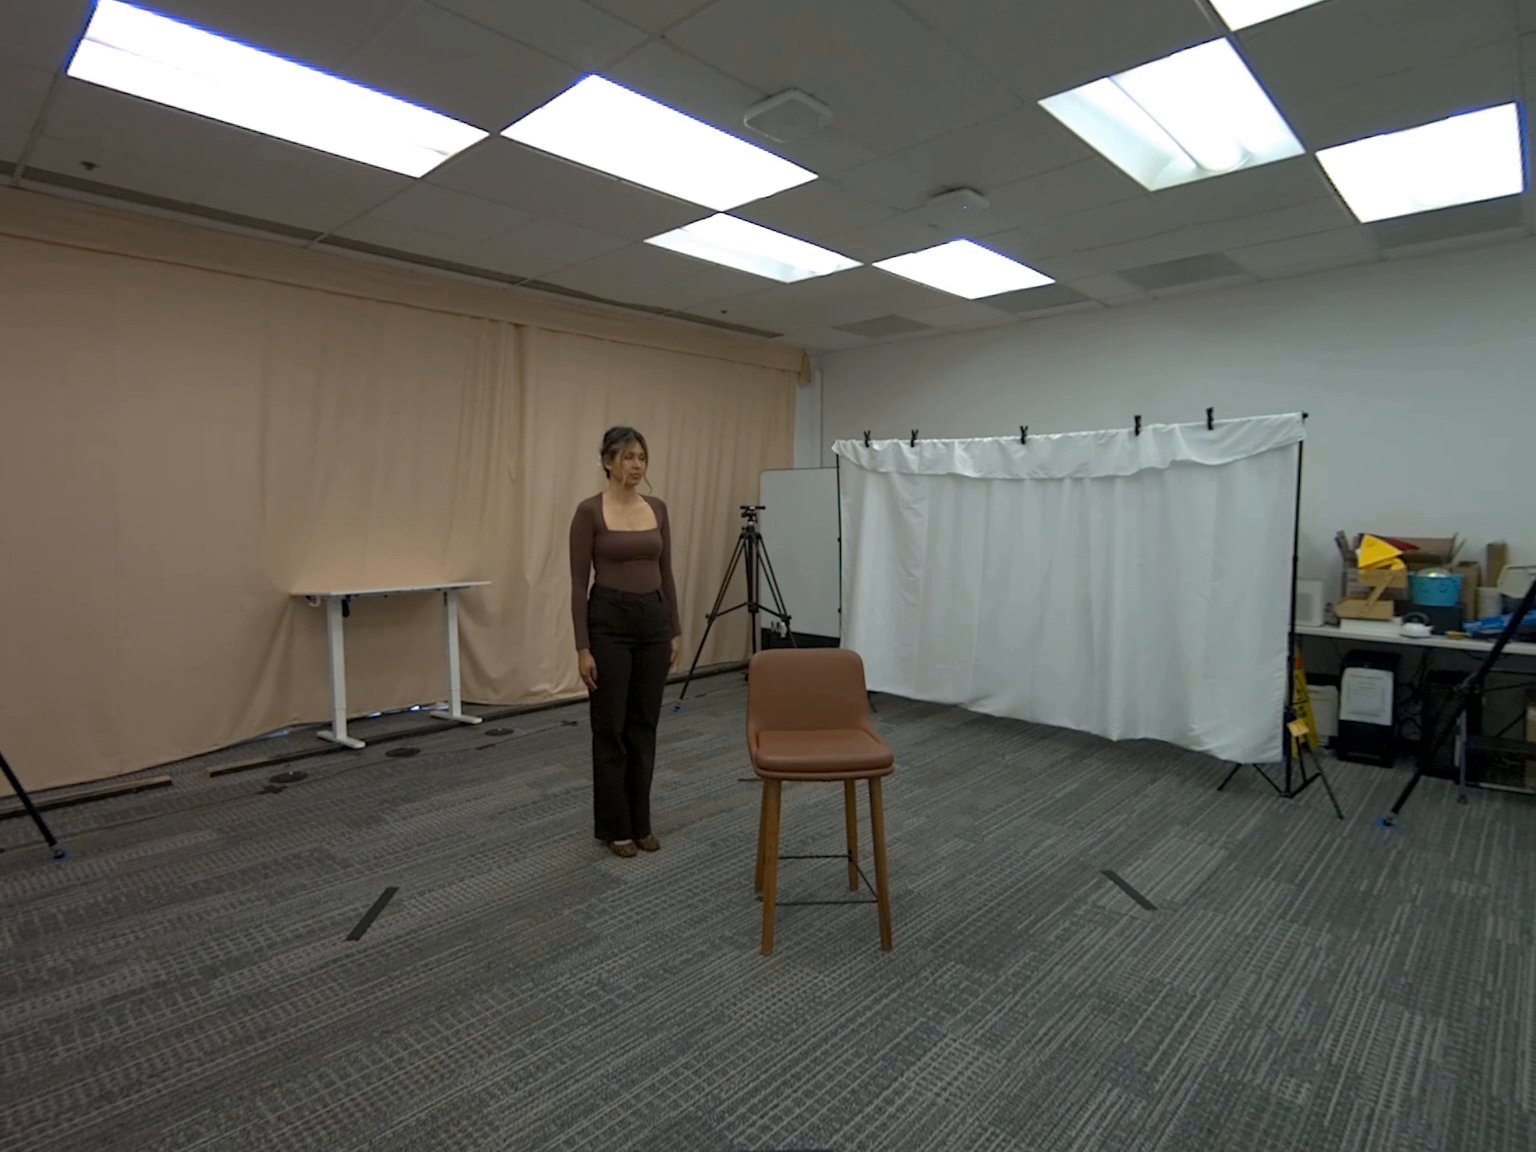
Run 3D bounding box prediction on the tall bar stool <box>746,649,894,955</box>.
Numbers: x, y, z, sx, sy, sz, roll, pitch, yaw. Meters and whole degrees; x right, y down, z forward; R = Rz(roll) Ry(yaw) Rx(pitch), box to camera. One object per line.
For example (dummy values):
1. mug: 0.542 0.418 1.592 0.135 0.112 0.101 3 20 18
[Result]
1. tall bar stool: 0.168 0.725 2.821 0.454 0.889 0.470 0 2 -5
